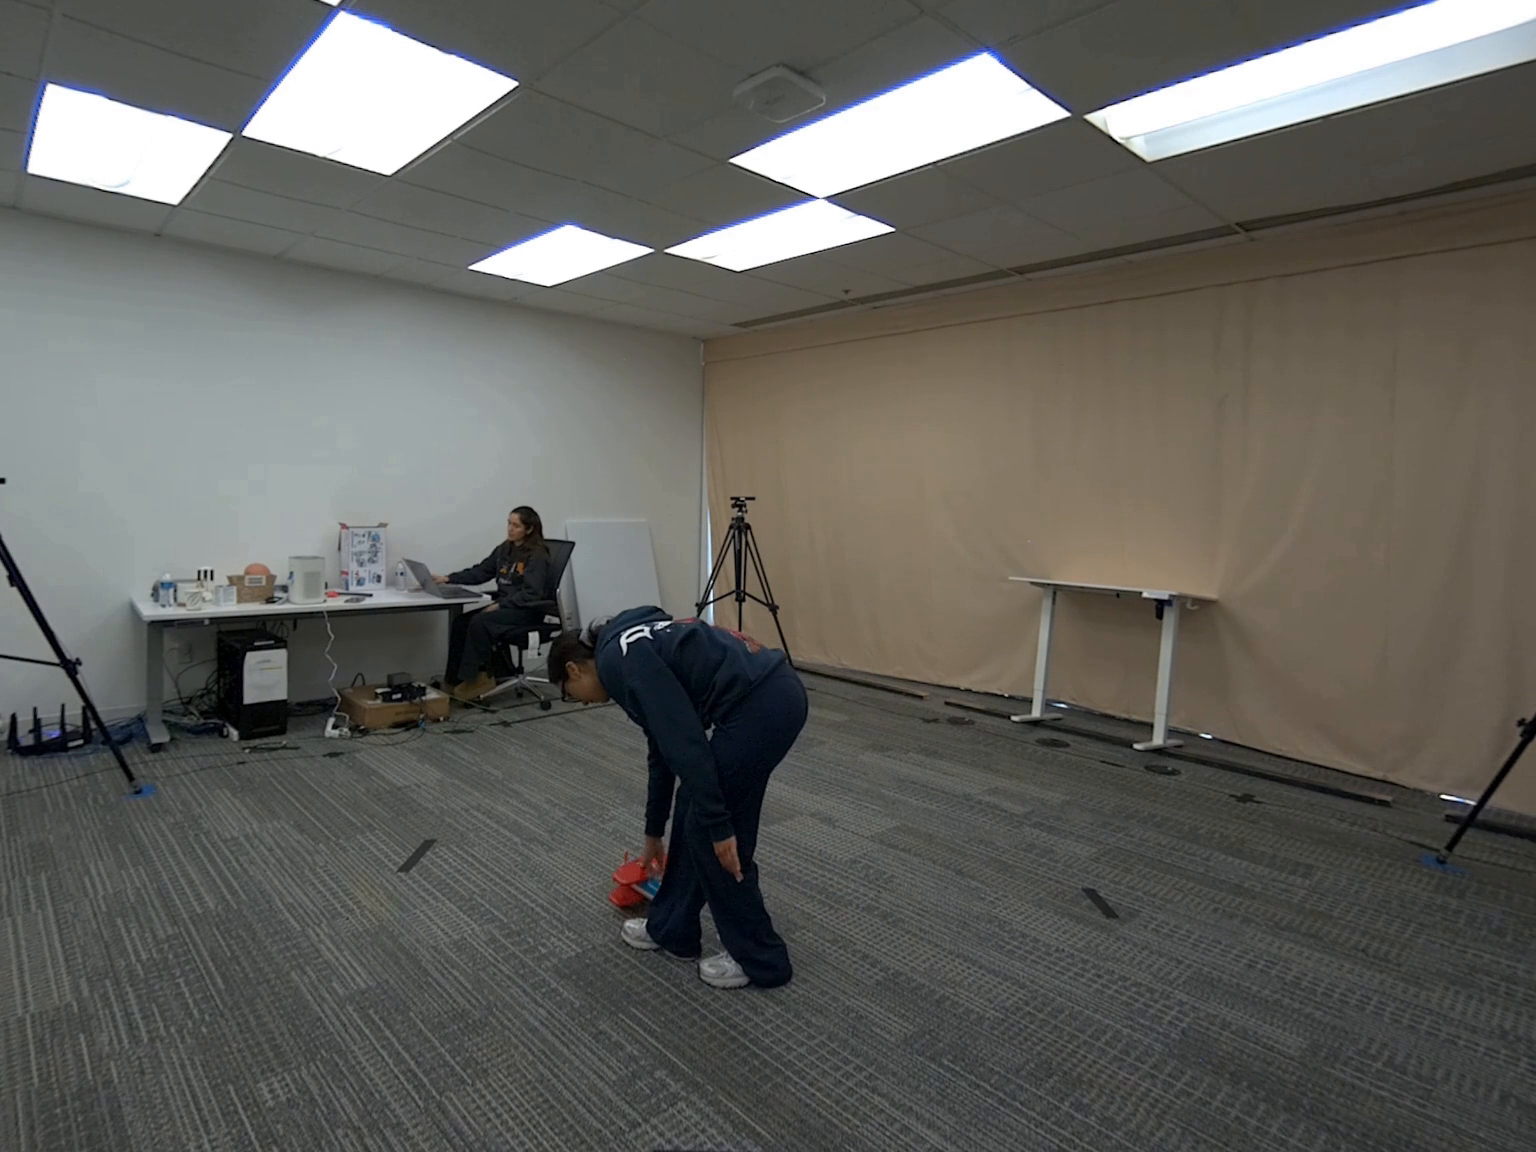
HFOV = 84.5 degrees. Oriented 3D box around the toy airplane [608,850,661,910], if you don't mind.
[{"bbox_3d":[-0.395,1.055,2.851,0.261,0.156,0.250,0,4,7],"label":"toy airplane"}]
